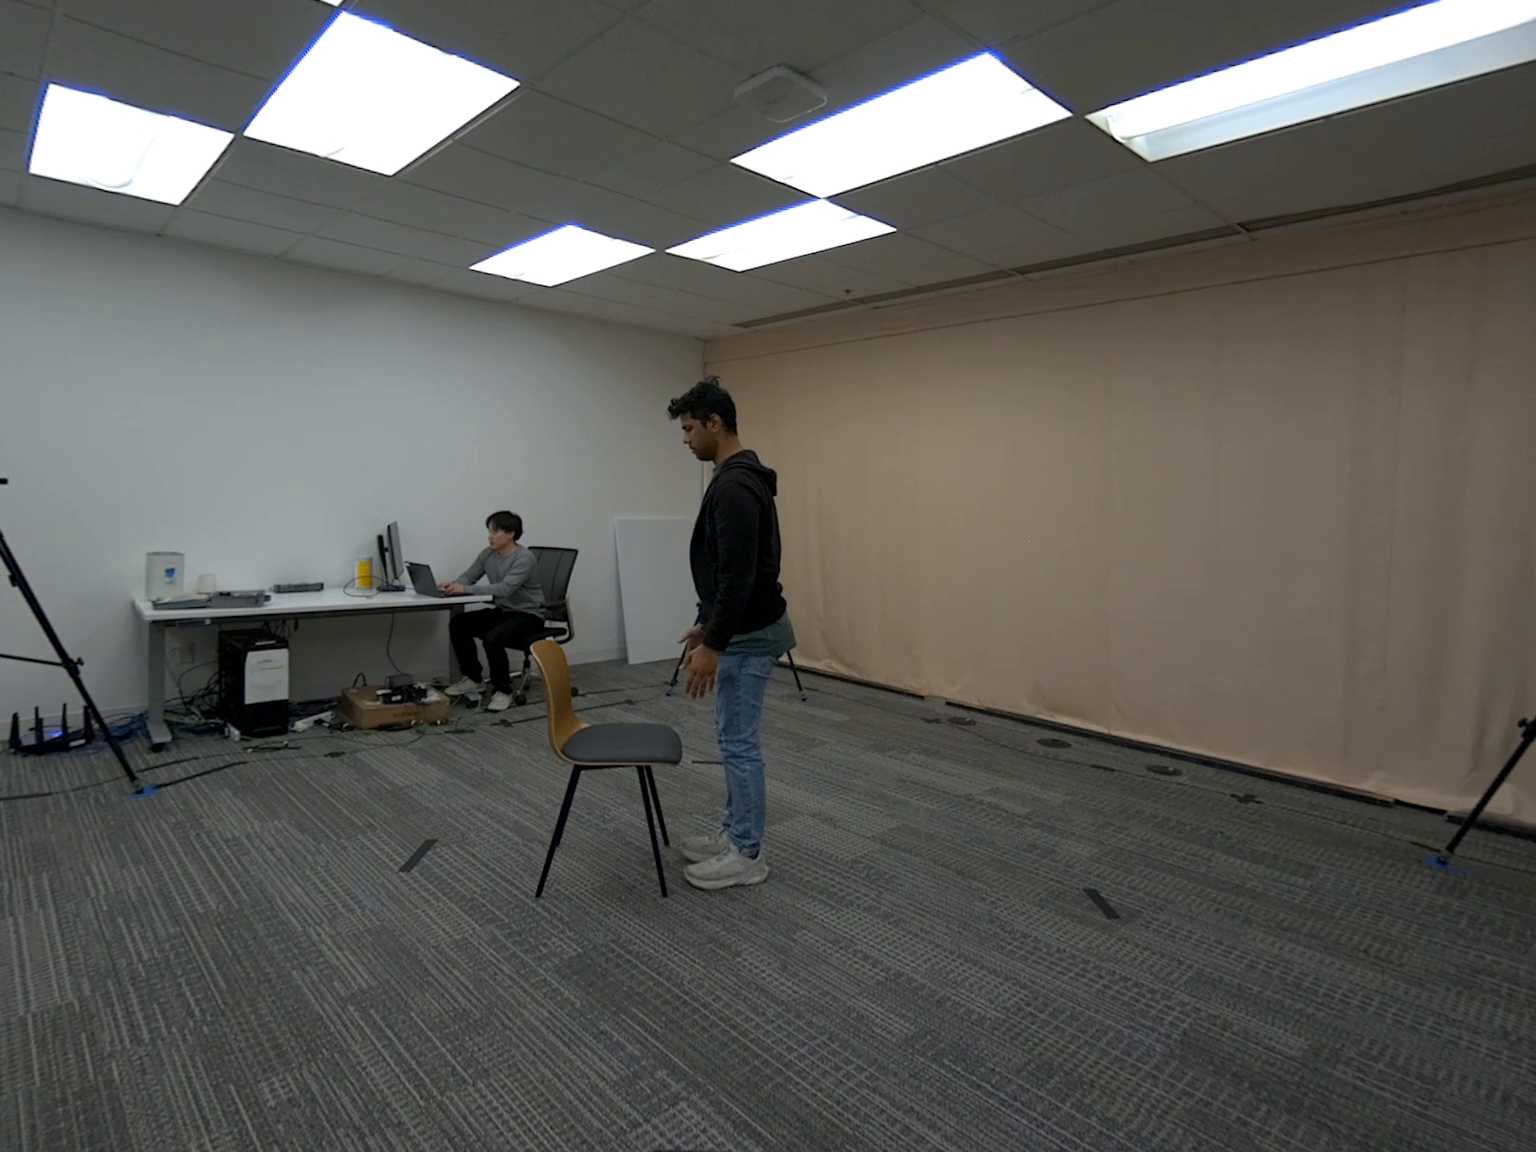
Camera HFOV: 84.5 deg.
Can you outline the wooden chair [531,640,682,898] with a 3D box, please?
[{"bbox_3d":[-0.580,0.664,3.103,0.521,0.875,0.481,-3,3,-5],"label":"wooden chair"}]
